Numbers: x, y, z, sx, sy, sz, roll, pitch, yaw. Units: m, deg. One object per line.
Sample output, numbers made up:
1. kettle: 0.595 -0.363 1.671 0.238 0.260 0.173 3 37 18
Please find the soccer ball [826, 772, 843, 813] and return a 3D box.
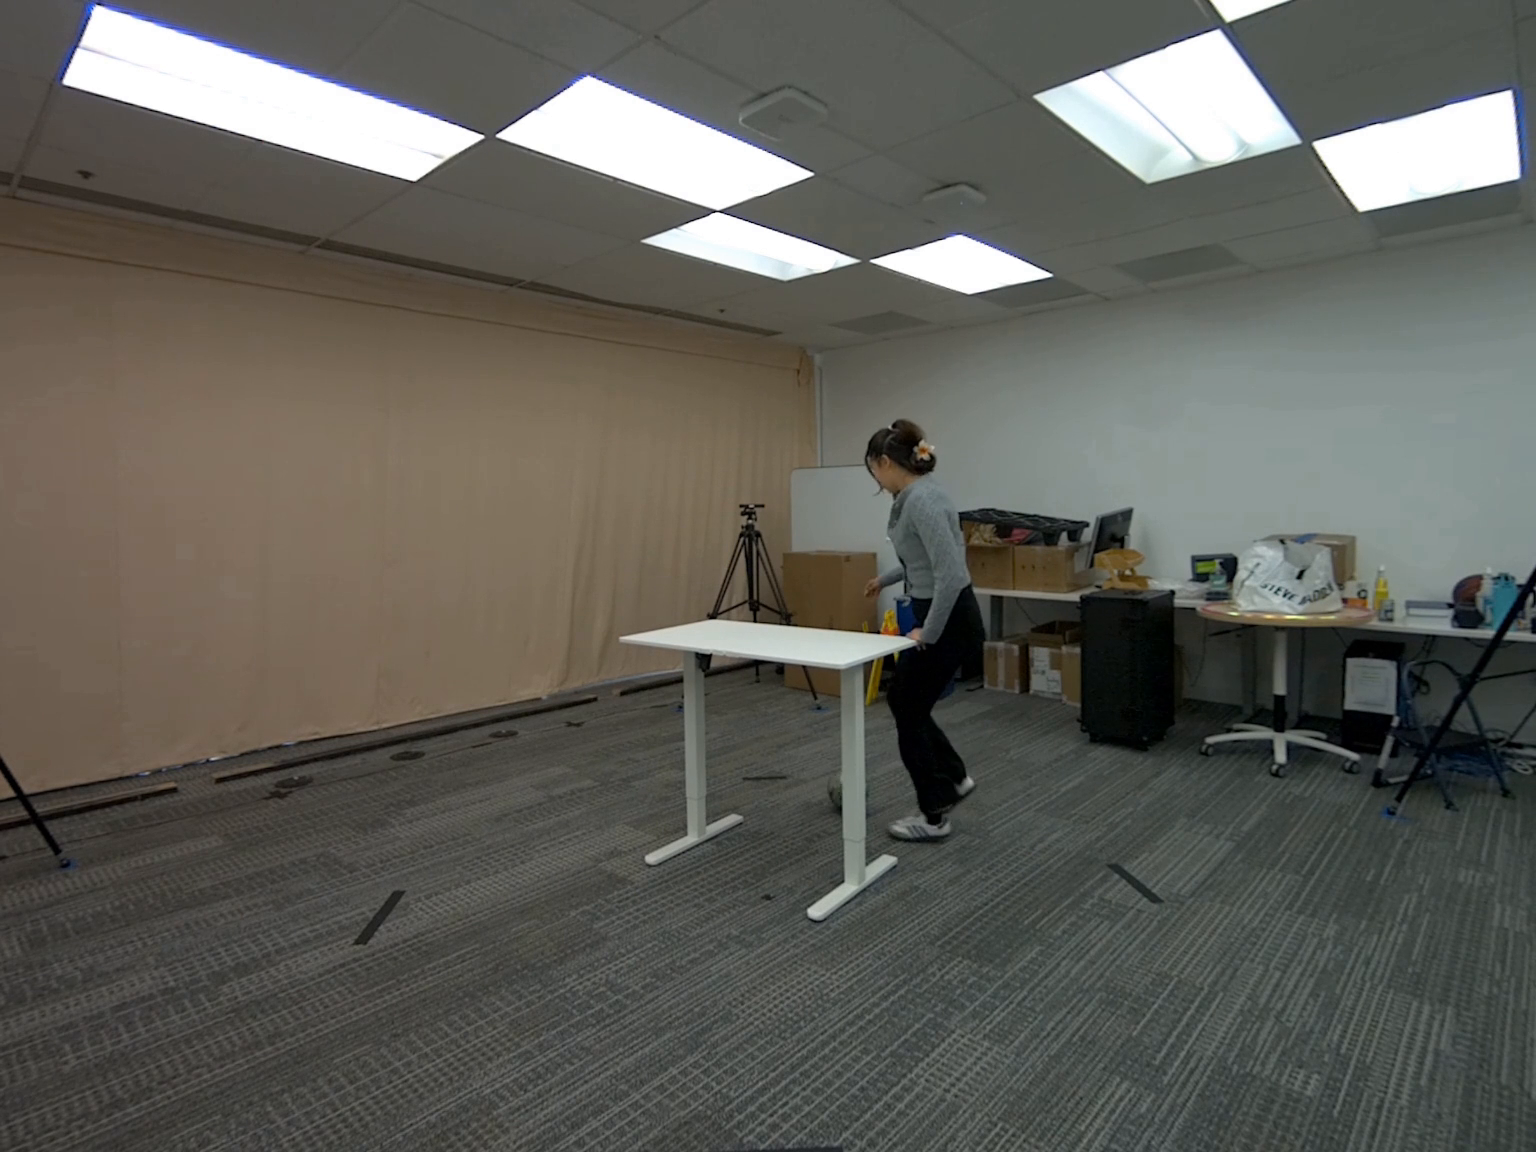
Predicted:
1. soccer ball: 0.365 0.965 3.814 0.187 0.187 0.188 -1 4 -2
